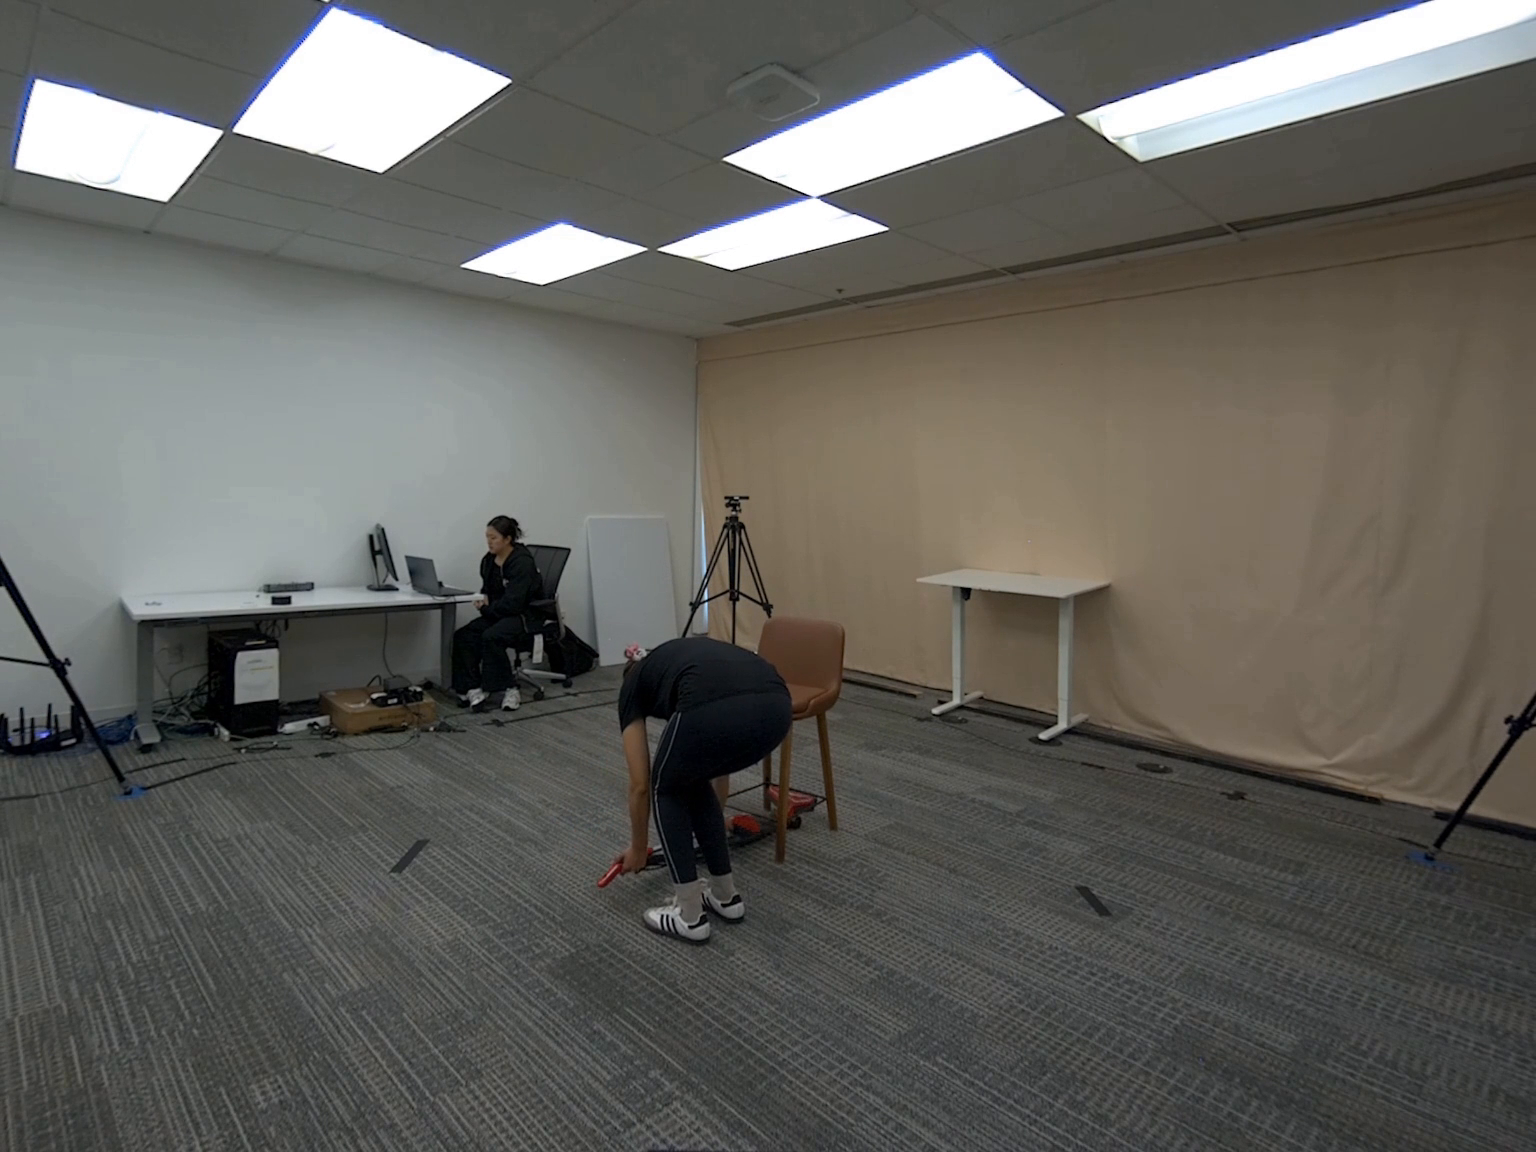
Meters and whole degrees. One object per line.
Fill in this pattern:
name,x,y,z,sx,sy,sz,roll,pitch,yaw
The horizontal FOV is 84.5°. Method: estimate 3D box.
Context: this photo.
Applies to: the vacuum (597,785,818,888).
vacuum,-0.244,1.037,3.225,0.259,0.143,1.026,6,7,39
